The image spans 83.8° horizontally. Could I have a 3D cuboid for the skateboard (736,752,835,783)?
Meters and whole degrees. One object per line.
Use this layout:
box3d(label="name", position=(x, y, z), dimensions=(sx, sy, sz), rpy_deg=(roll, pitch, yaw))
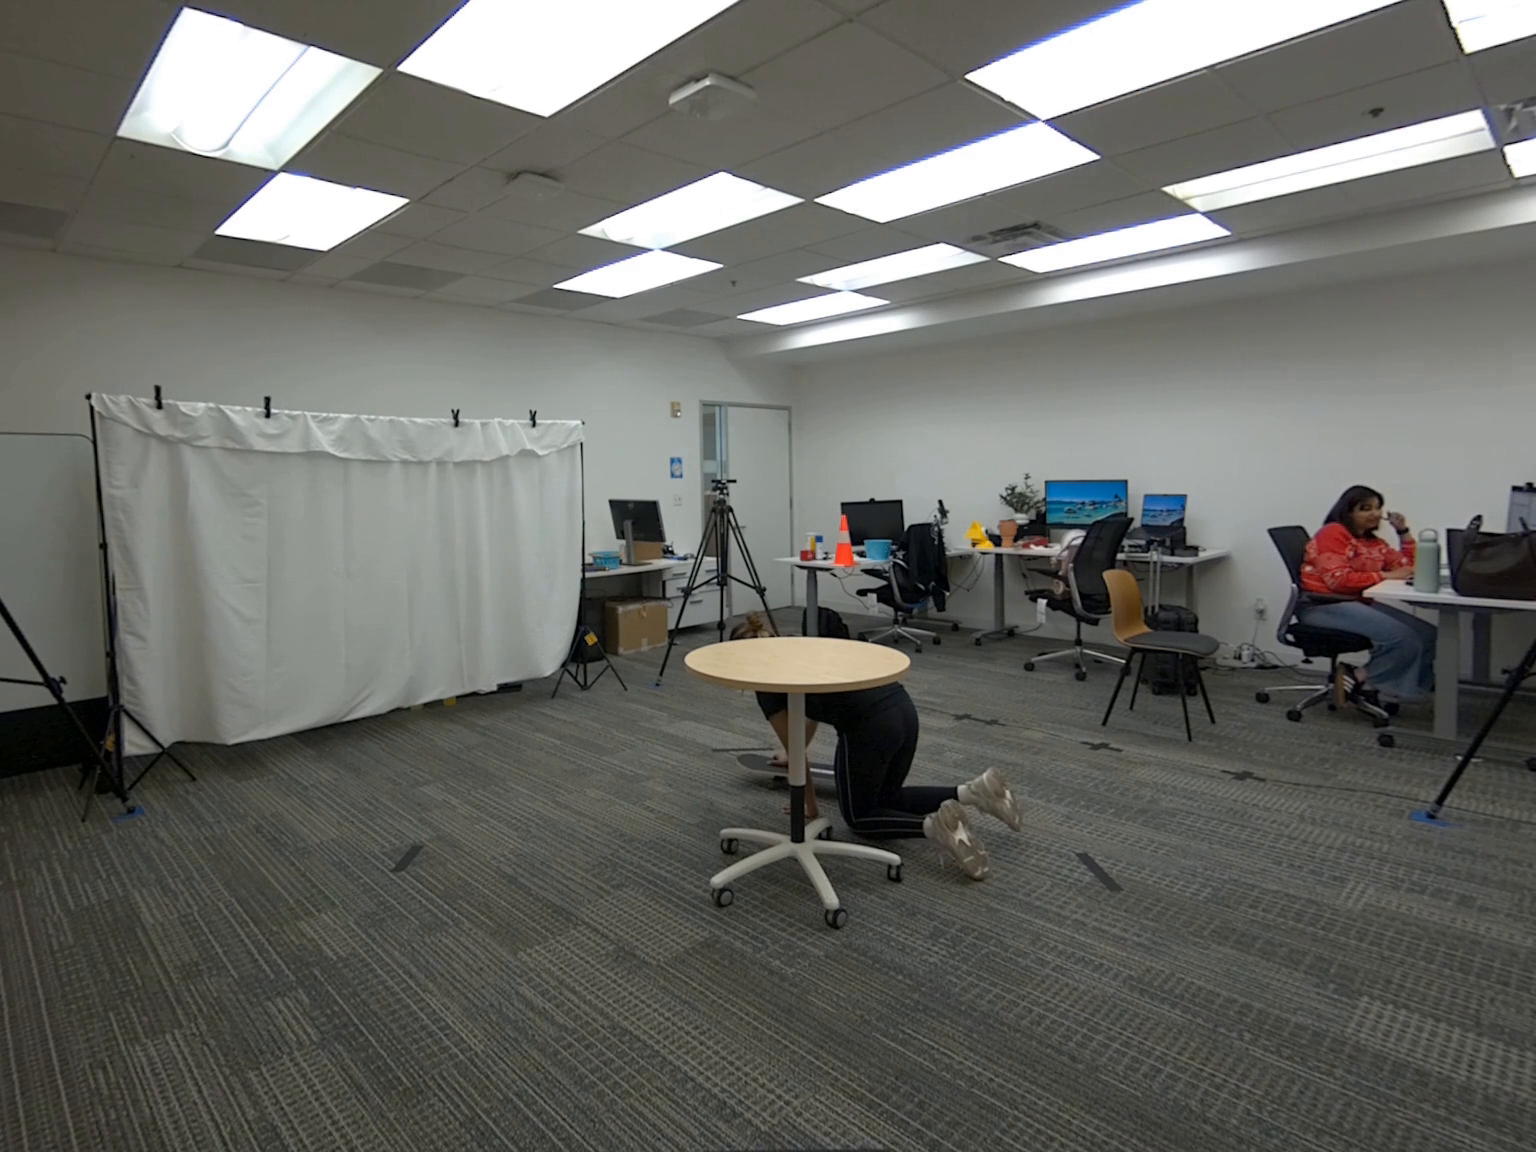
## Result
box3d(label="skateboard", position=(0.232, 0.909, 3.834), dimensions=(0.803, 0.110, 0.190), rpy_deg=(2, 7, 25))
